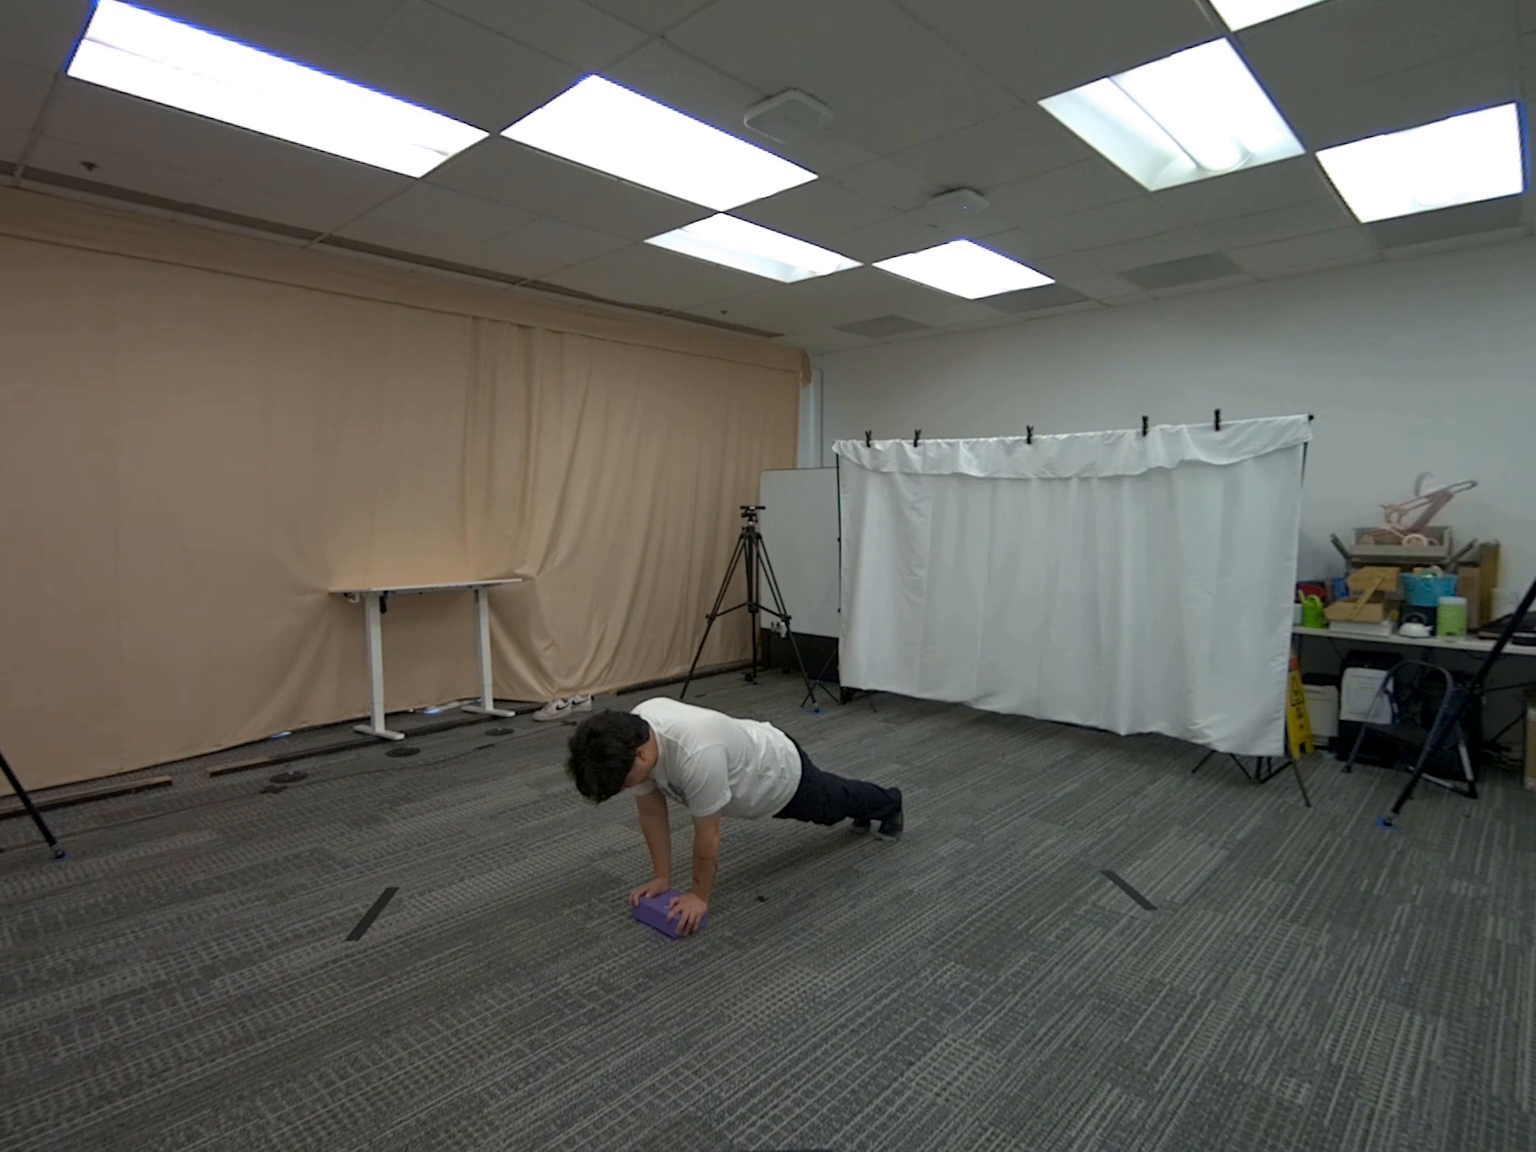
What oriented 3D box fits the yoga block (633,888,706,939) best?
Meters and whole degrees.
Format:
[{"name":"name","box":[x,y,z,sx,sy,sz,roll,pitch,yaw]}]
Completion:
[{"name":"yoga block","box":[-0.328,1.126,2.826,0.237,0.076,0.144,4,6,42]}]
